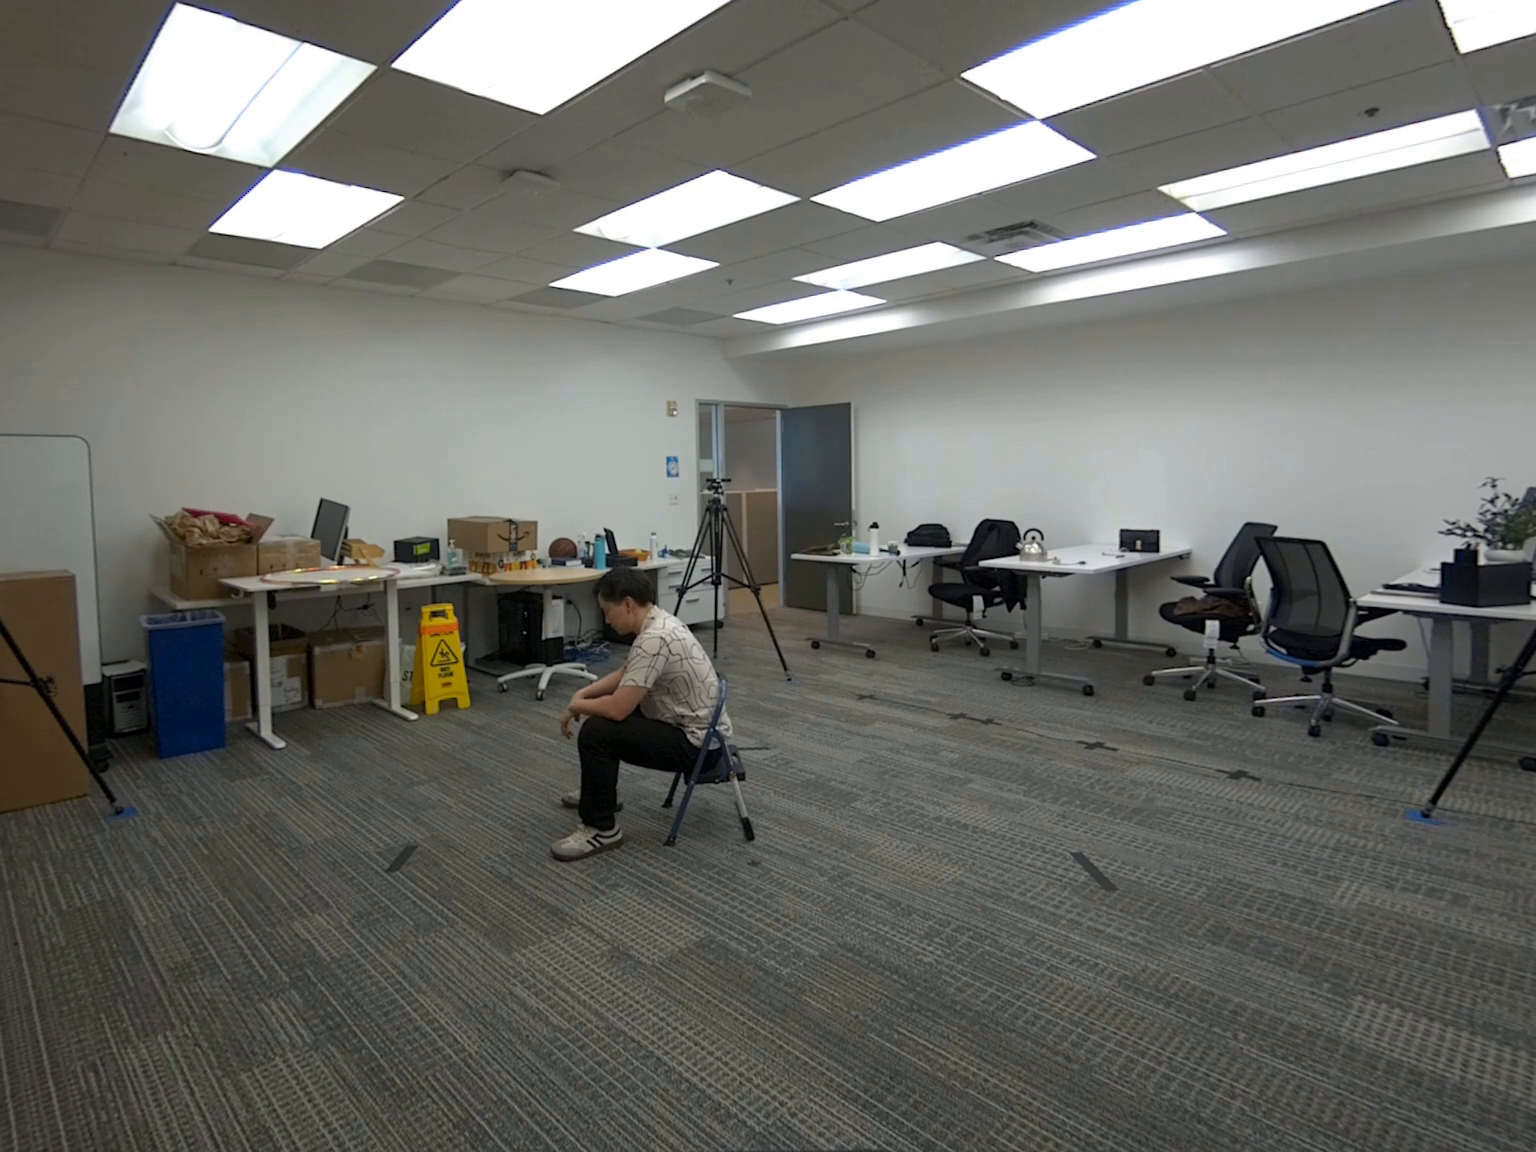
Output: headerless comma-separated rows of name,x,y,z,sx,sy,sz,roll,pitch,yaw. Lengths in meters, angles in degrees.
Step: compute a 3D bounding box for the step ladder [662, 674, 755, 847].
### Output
step ladder,-0.255,0.708,3.465,0.347,0.604,0.435,-2,4,-8
